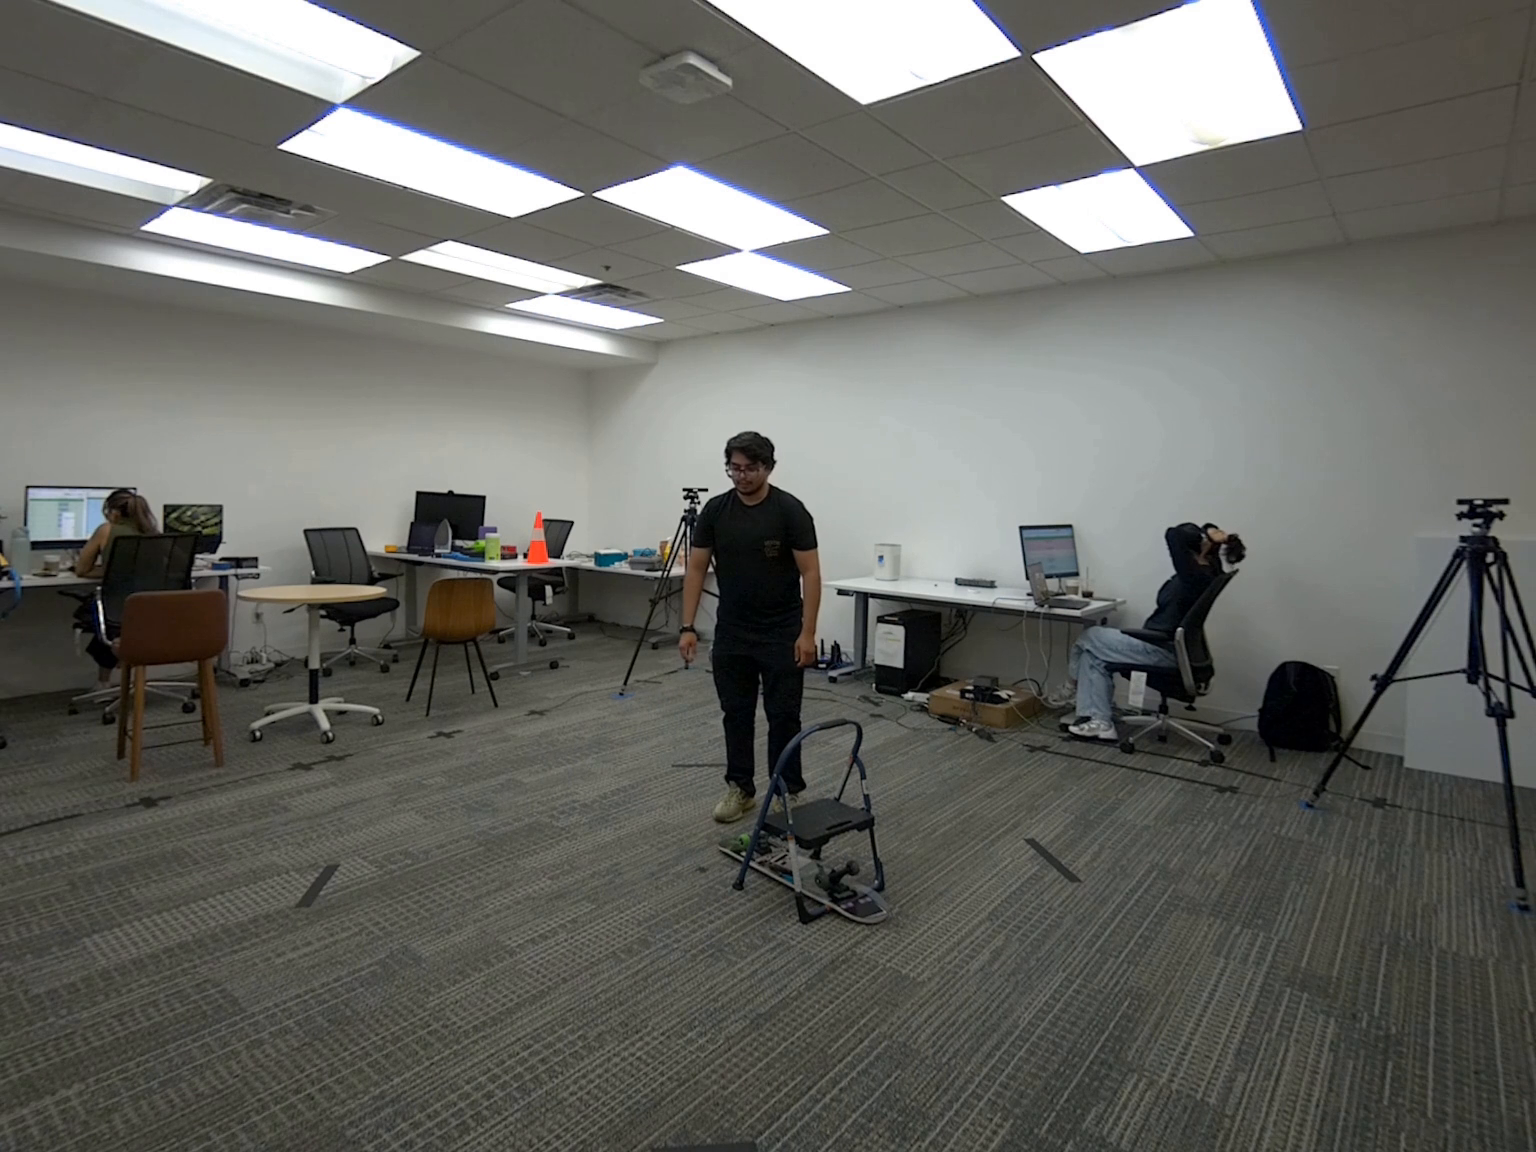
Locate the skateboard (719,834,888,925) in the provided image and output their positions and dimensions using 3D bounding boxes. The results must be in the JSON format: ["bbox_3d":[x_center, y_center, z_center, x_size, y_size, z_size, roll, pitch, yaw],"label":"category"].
[{"bbox_3d":[0.103,1.031,3.063,0.188,0.110,0.812,-3,6,-43],"label":"skateboard"}]
